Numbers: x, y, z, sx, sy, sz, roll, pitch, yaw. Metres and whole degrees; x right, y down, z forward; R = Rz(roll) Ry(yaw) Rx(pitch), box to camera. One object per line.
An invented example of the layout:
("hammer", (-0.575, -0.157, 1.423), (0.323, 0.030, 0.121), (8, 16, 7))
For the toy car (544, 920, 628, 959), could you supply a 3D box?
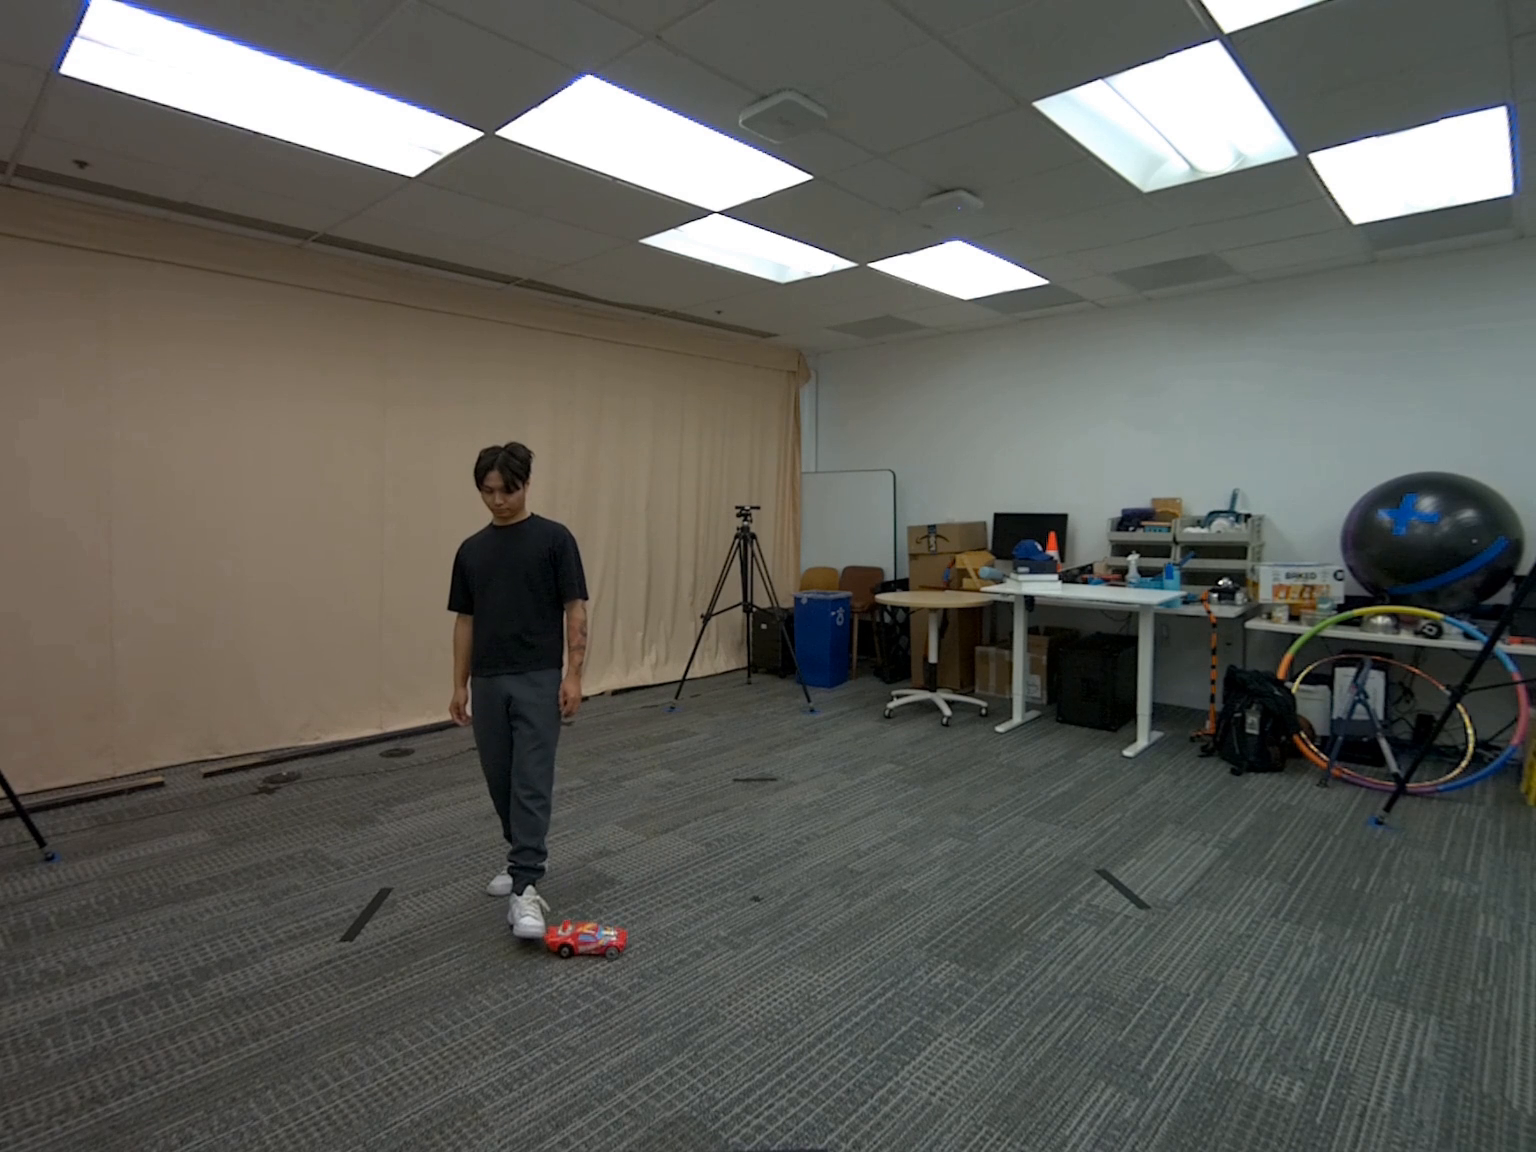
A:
("toy car", (-0.579, 1.146, 2.642), (0.256, 0.083, 0.130), (12, 4, 3))
